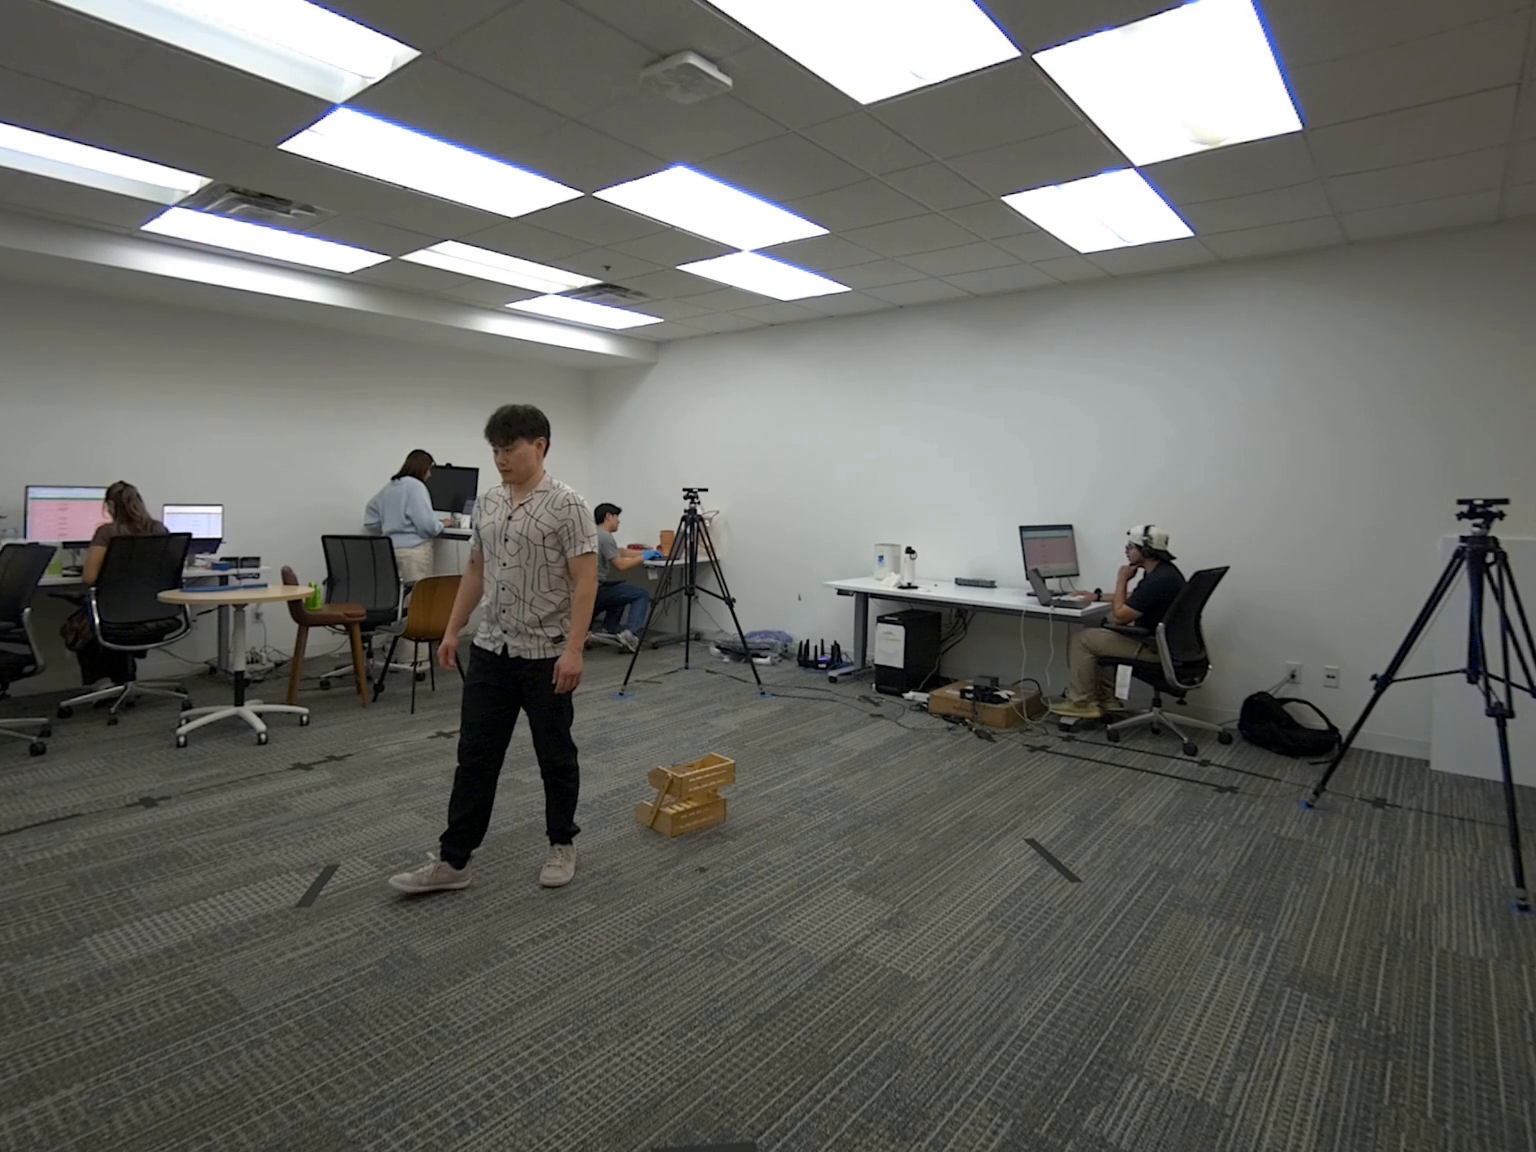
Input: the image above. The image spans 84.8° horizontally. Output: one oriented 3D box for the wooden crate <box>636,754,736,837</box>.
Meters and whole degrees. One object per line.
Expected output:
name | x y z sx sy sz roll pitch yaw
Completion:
wooden crate | -0.362 0.890 3.562 0.315 0.272 0.312 -3 7 -44
